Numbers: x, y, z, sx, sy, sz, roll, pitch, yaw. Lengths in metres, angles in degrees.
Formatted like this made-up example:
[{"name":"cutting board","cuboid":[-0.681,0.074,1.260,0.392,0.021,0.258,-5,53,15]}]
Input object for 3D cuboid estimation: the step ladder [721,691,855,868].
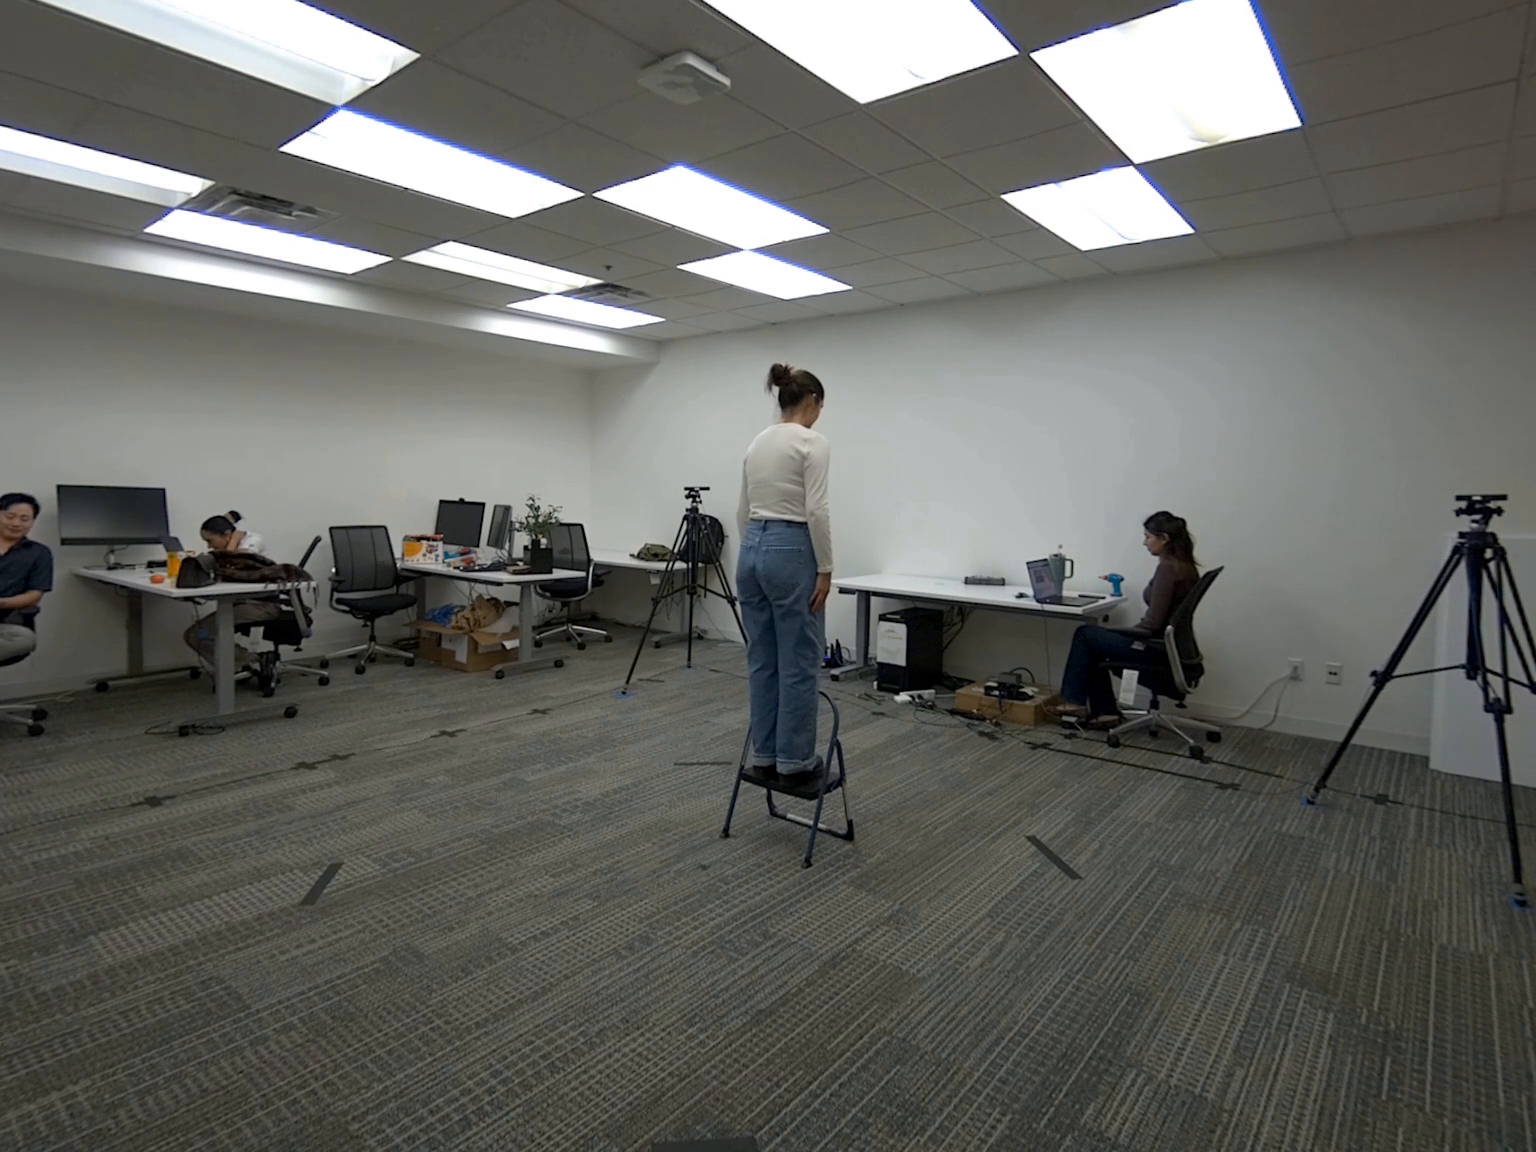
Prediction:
[{"name":"step ladder","cuboid":[0.079,0.740,3.375,0.445,0.604,0.339,4,5,38]}]
